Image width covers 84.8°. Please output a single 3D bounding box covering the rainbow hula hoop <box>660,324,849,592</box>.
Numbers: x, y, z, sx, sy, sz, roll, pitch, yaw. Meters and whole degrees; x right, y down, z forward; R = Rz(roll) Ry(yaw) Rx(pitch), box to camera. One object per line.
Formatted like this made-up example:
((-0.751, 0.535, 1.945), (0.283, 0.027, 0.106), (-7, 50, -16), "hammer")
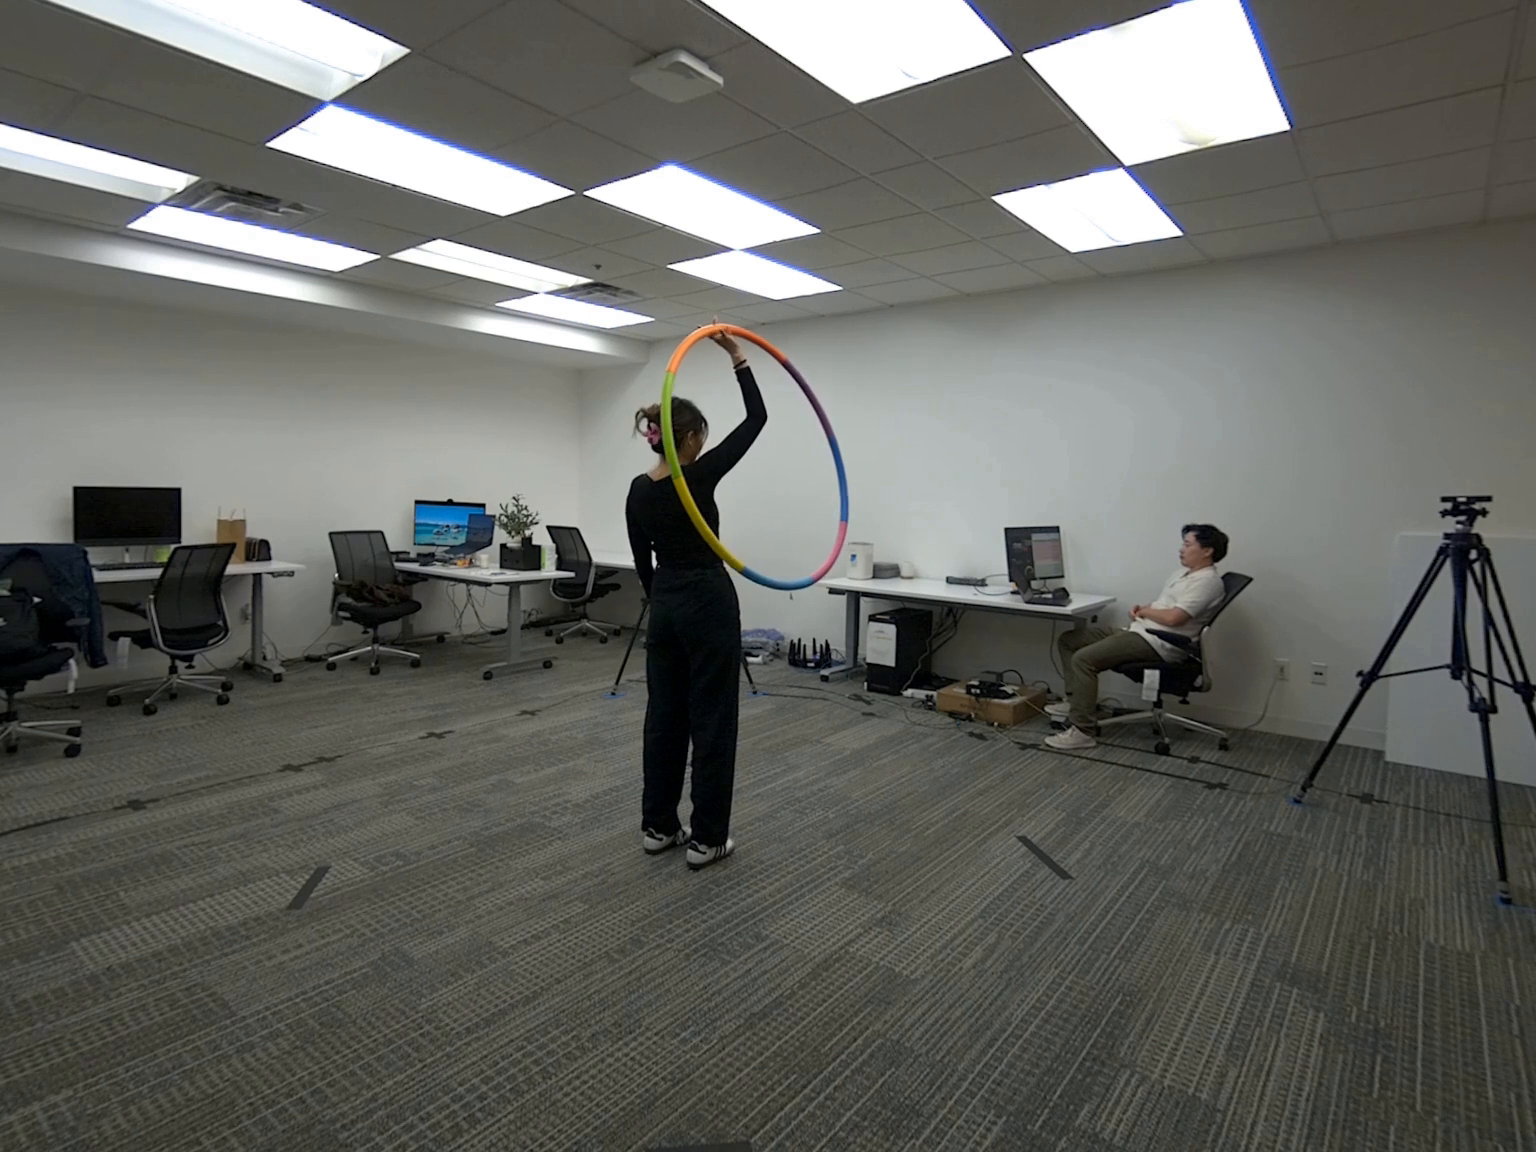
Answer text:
((-0.041, -0.437, 3.056), (0.052, 0.995, 0.956), (-20, -10, 40), "rainbow hula hoop")
